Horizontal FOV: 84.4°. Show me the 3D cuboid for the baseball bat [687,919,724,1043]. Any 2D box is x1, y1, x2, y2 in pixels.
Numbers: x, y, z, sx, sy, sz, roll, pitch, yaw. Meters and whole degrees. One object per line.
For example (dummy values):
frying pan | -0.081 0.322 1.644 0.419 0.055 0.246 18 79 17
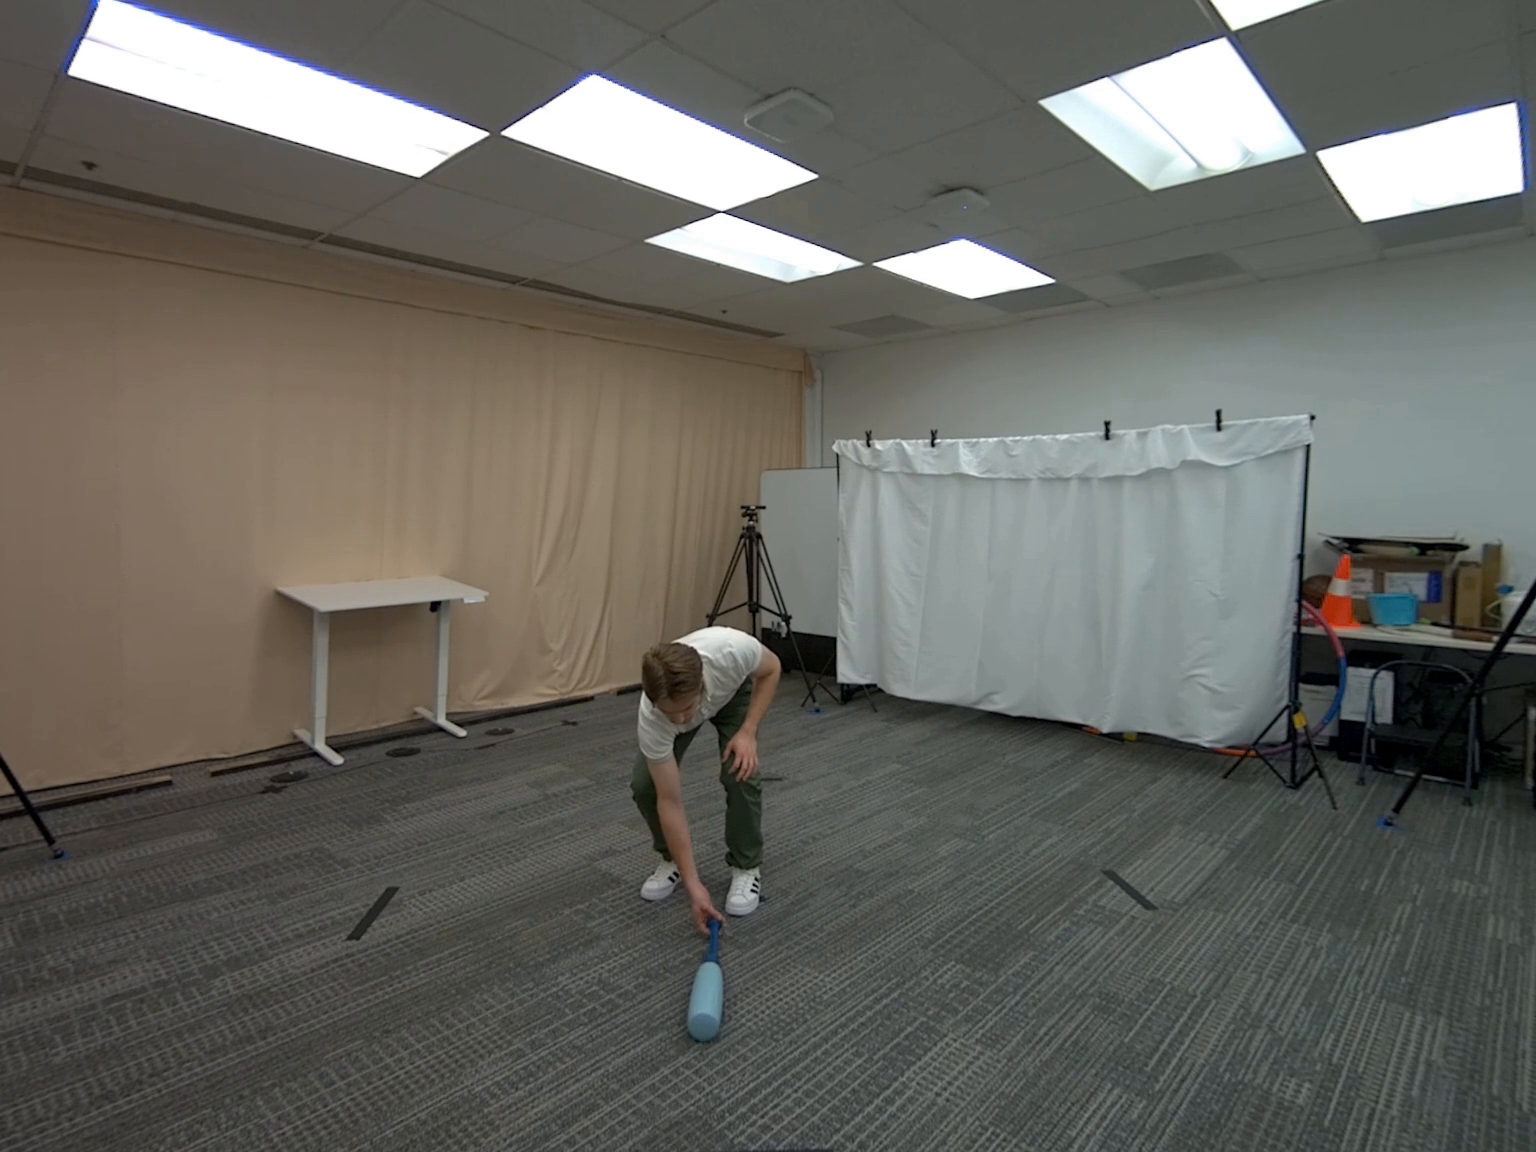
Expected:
baseball bat | -0.176 1.147 2.443 0.089 0.089 0.544 0 4 -1
